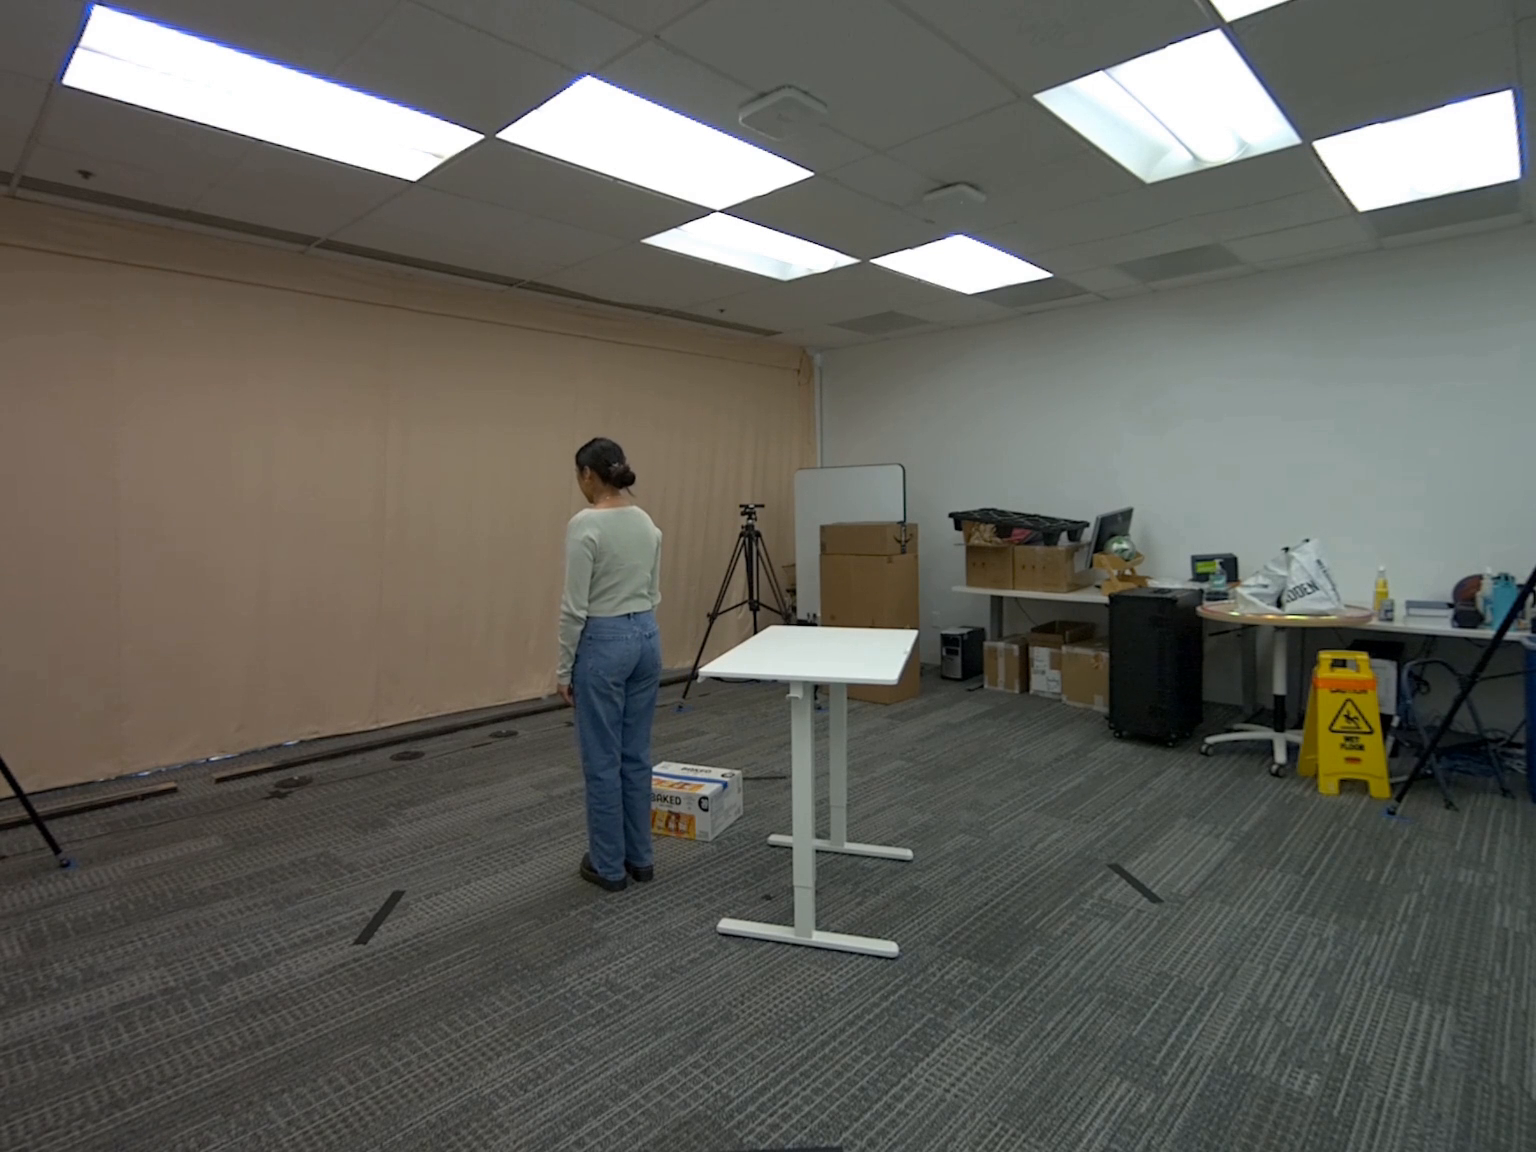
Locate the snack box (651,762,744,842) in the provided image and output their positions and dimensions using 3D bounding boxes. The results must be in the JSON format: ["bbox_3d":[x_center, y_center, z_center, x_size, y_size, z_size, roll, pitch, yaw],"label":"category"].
[{"bbox_3d":[-0.365,0.984,3.707,0.415,0.205,0.333,1,5,24],"label":"snack box"}]
